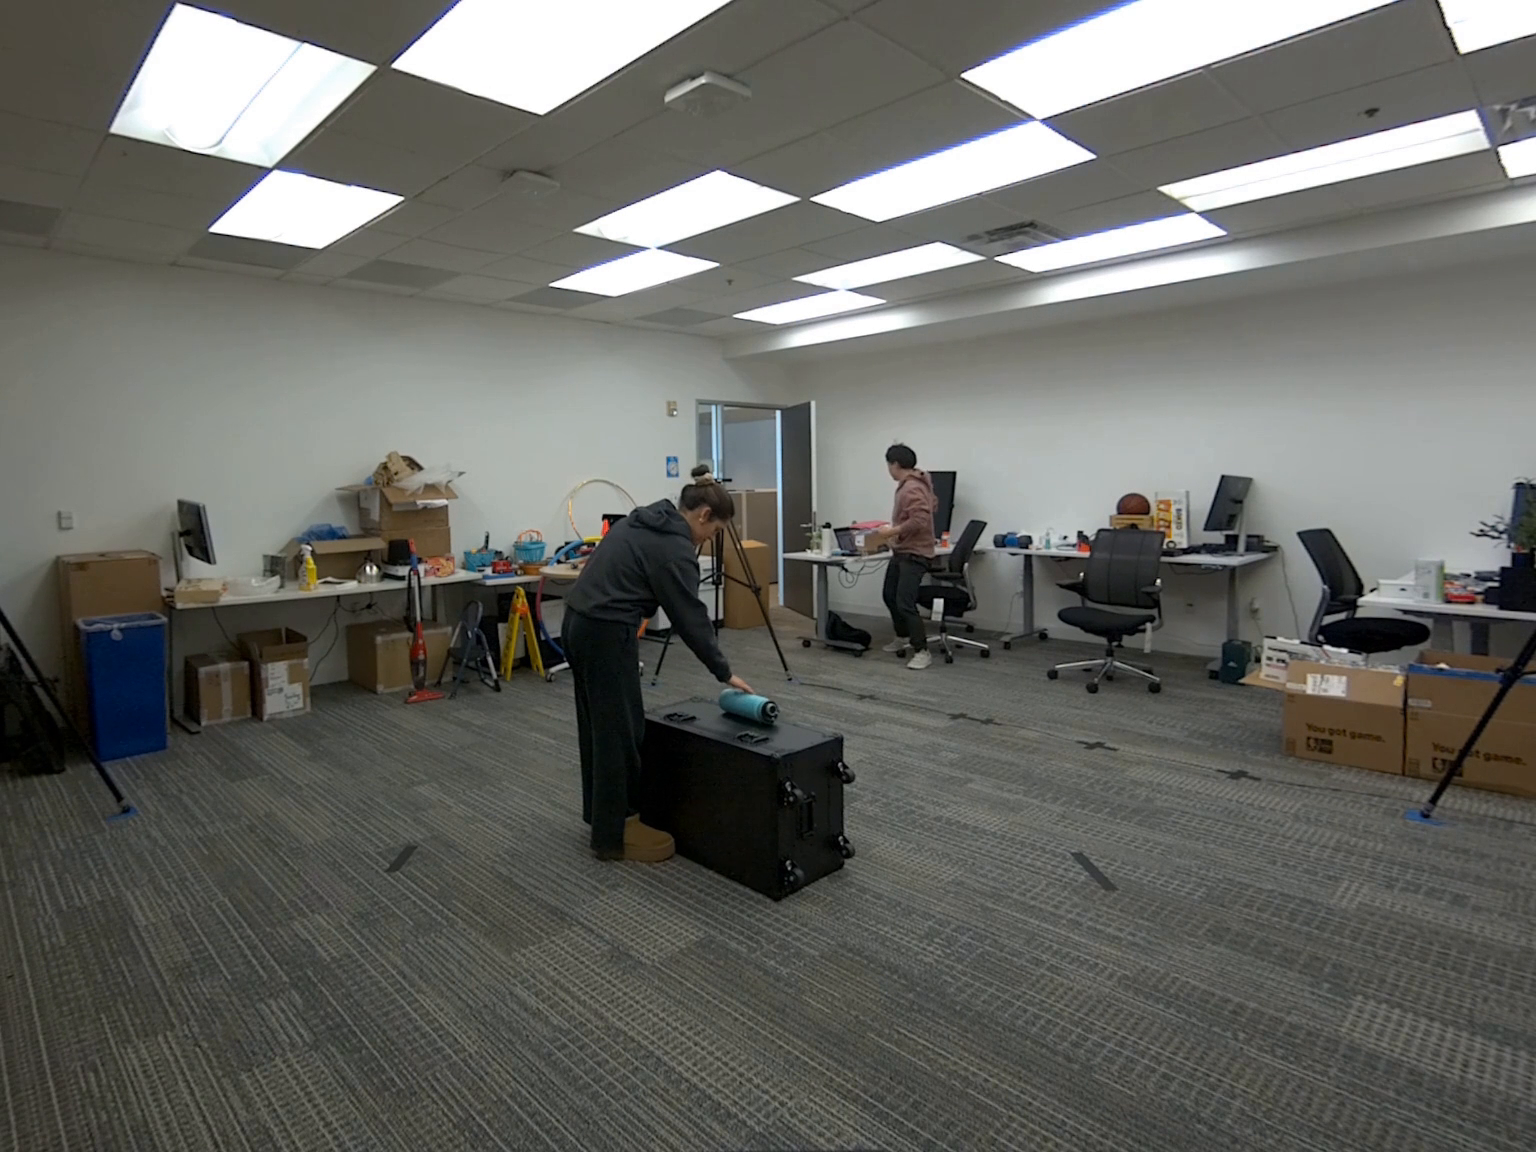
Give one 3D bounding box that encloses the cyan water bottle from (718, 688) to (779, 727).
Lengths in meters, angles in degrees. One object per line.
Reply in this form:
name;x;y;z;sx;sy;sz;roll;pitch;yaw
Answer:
cyan water bottle;-0.073;0.495;3.238;0.090;0.092;0.292;-4;5;-40
